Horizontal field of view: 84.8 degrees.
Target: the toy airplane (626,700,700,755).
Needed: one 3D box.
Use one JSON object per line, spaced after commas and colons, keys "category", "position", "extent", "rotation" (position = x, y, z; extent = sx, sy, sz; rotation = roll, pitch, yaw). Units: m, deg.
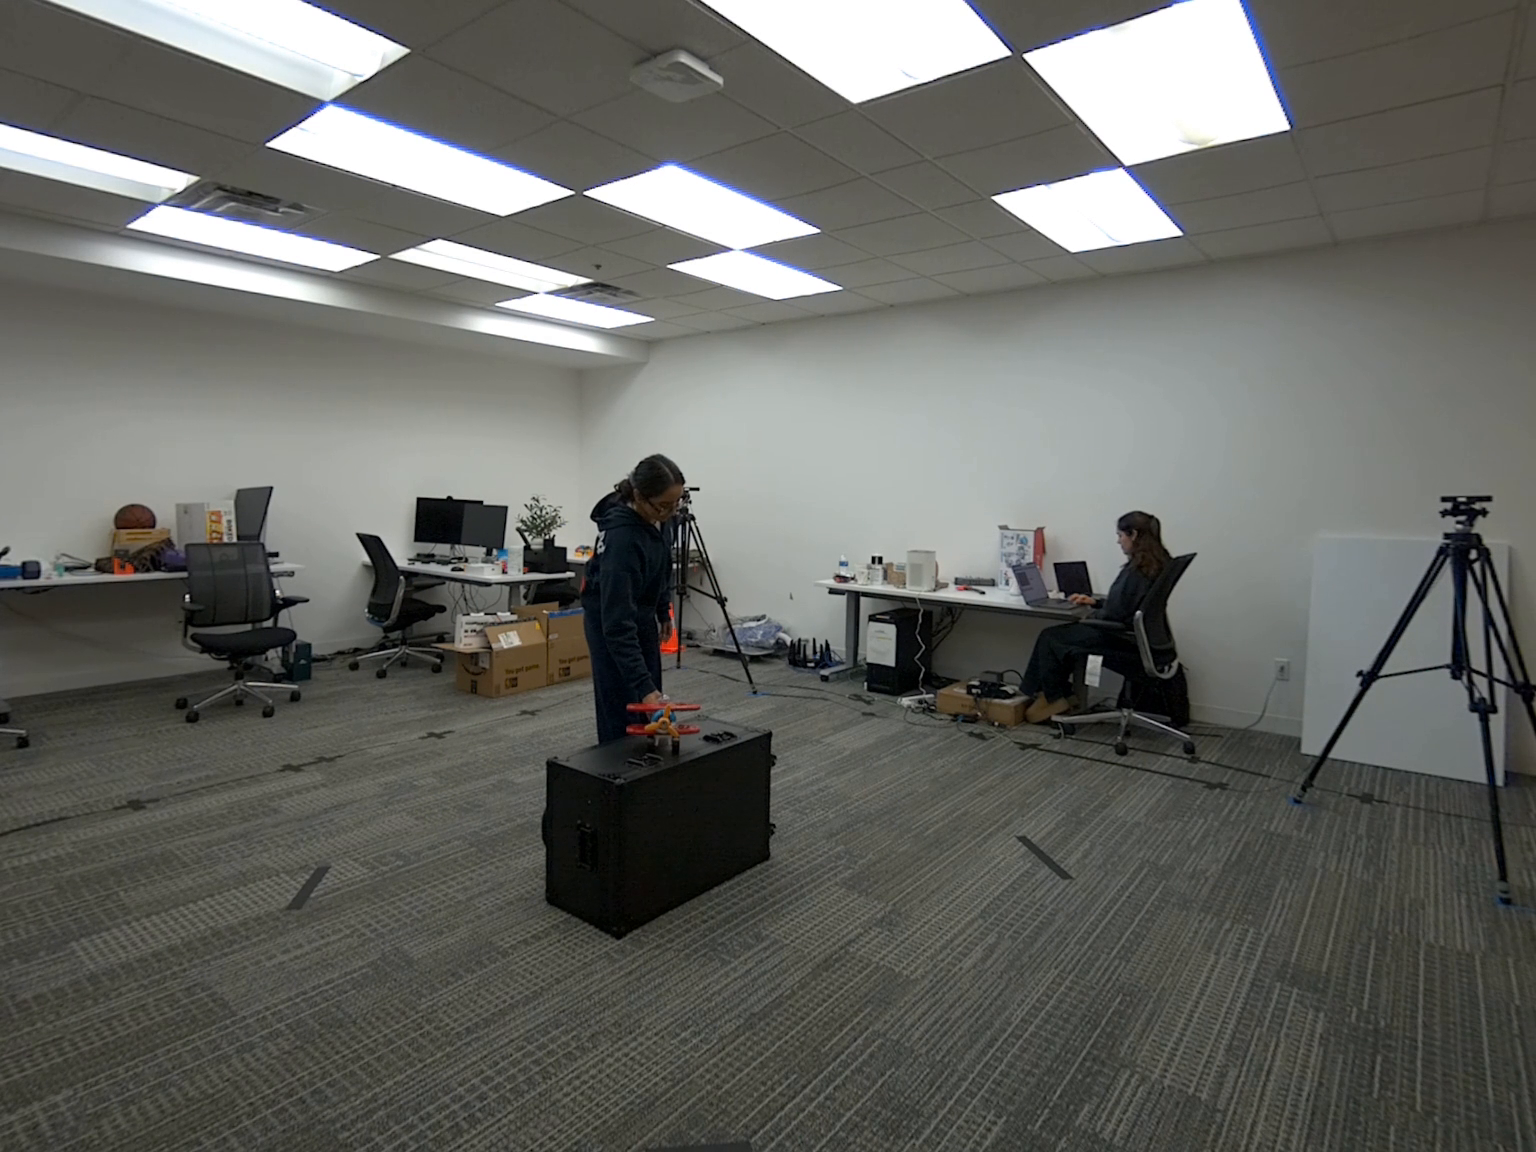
{"category": "toy airplane", "position": [-0.393, 0.503, 2.992], "extent": [0.244, 0.154, 0.269], "rotation": [-7, 17, -37]}
